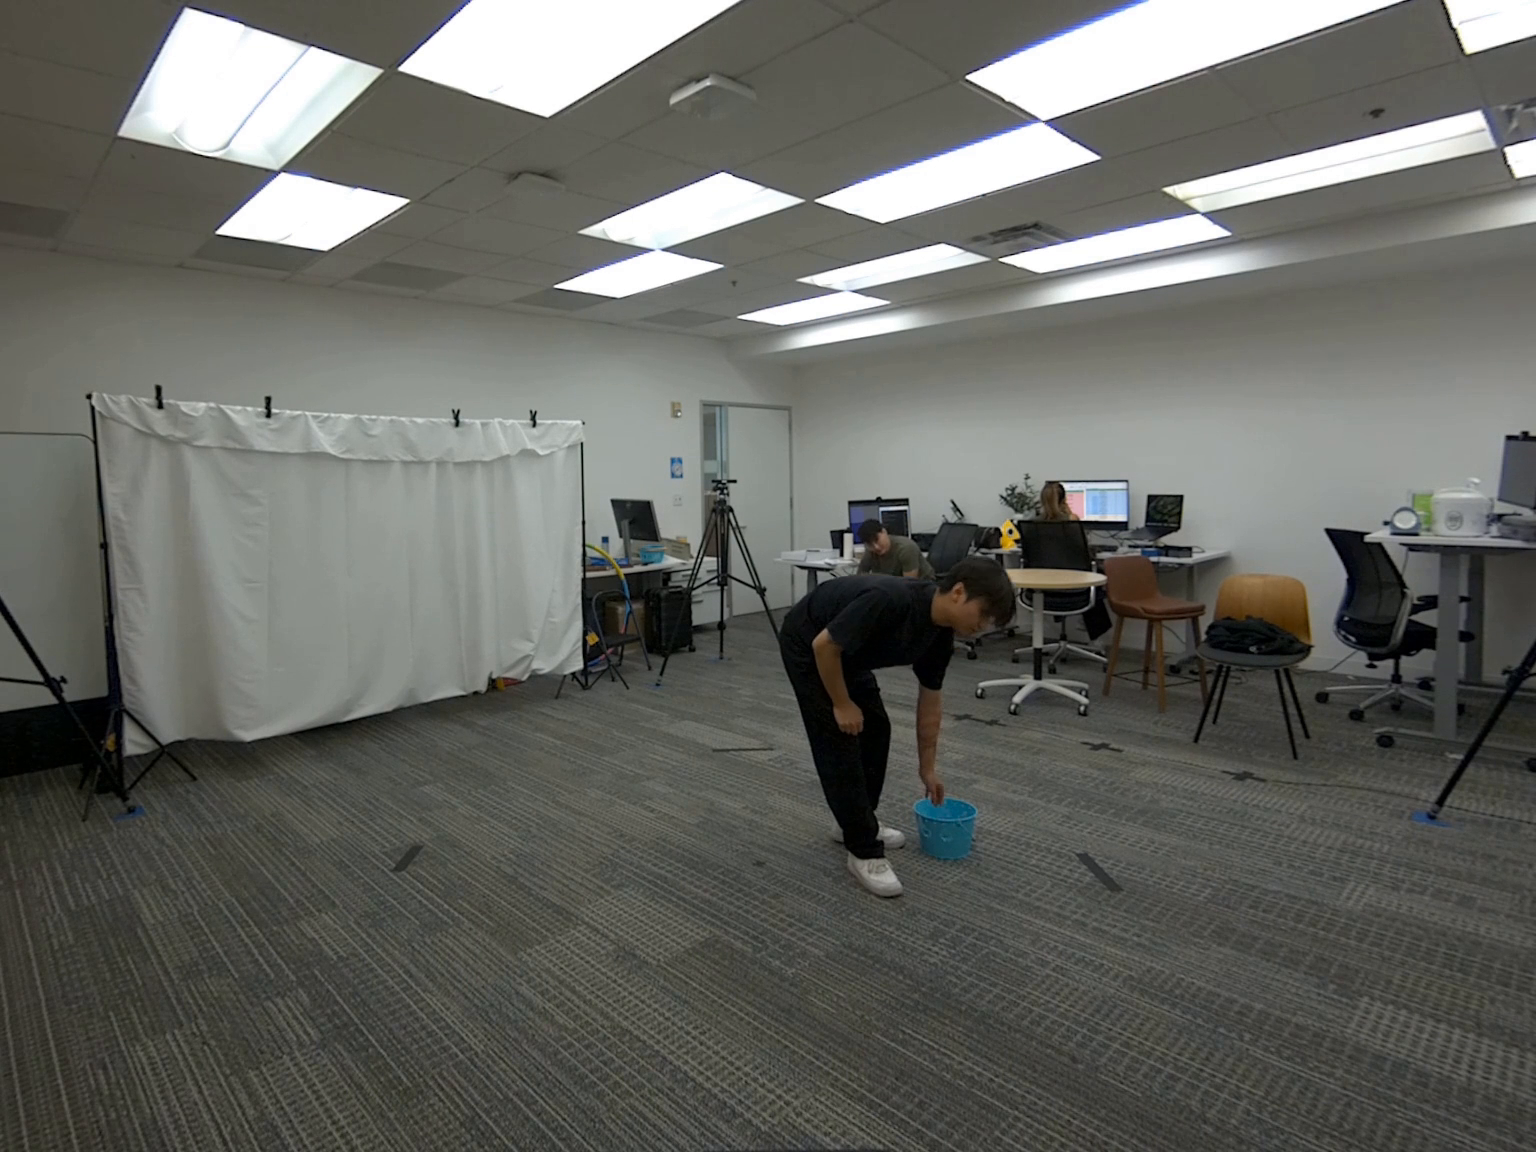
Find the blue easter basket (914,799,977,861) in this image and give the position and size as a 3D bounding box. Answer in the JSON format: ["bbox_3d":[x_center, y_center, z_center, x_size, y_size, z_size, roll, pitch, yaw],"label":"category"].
[{"bbox_3d":[0.656,0.941,3.205,0.243,0.155,0.245,-1,6,-2],"label":"blue easter basket"}]
